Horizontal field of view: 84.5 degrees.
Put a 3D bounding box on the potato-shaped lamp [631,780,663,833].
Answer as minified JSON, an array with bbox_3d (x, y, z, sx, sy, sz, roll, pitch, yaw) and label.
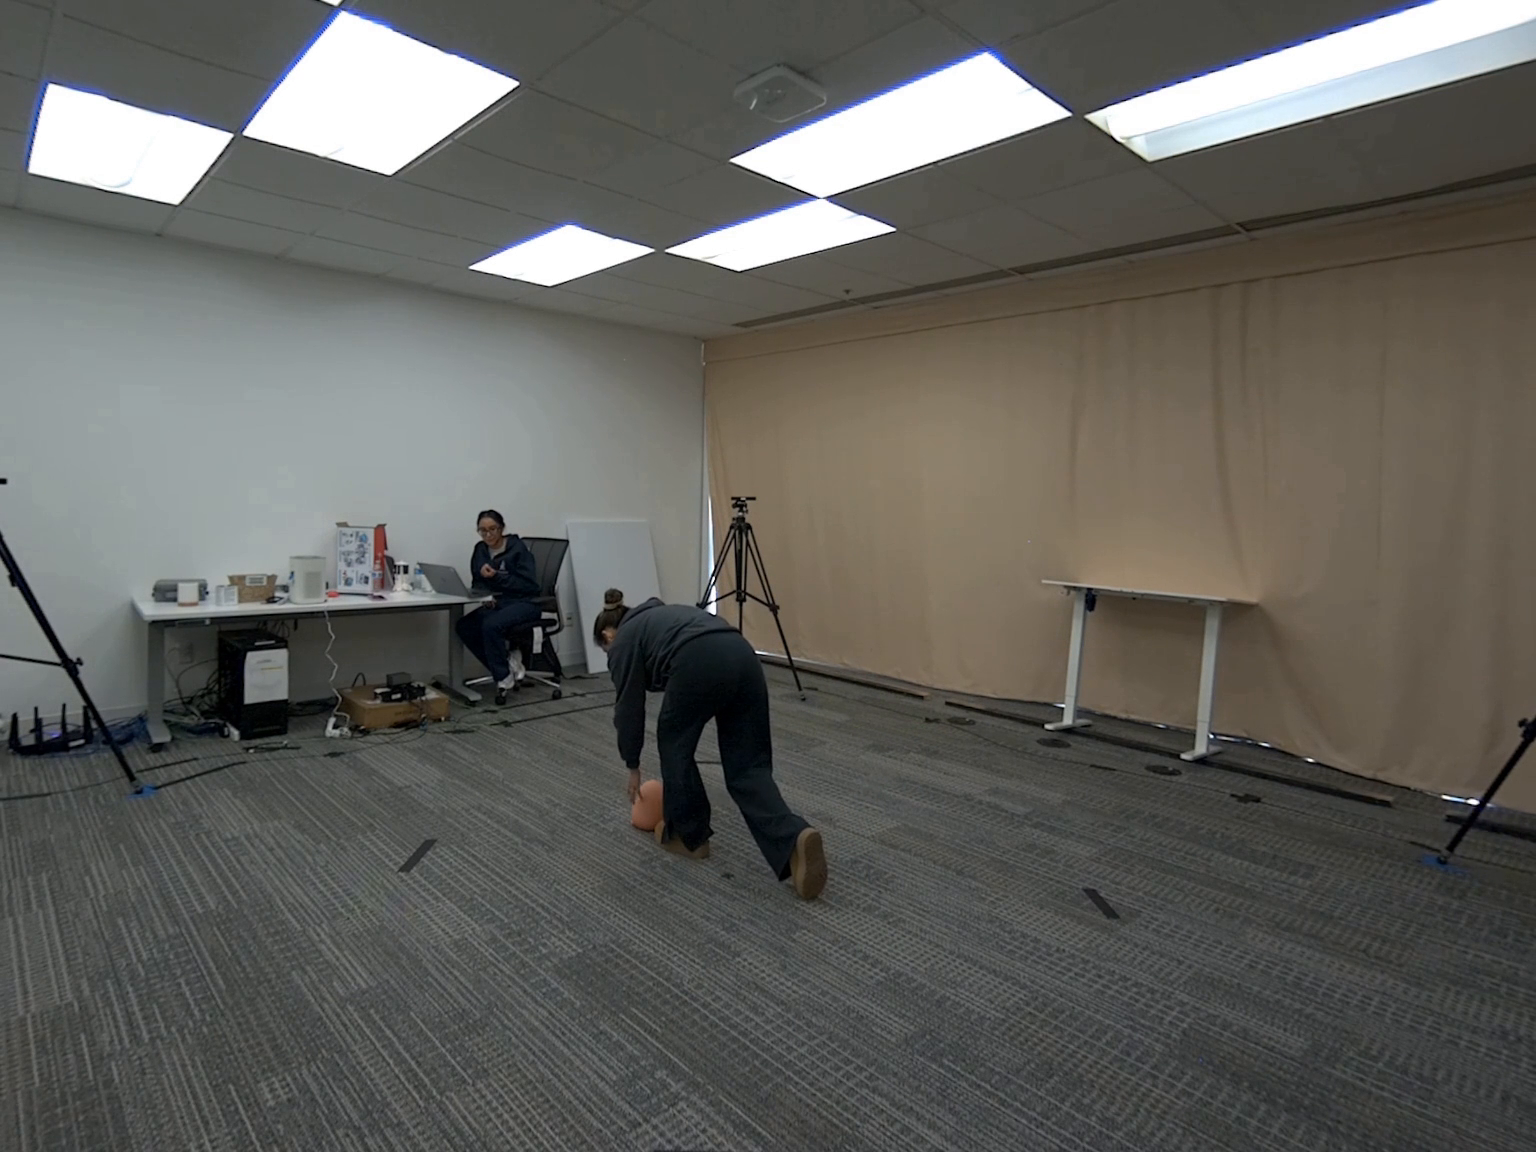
[{"bbox_3d":[-0.499,0.957,3.556,0.176,0.197,0.161,5,5,37],"label":"potato-shaped lamp"}]
